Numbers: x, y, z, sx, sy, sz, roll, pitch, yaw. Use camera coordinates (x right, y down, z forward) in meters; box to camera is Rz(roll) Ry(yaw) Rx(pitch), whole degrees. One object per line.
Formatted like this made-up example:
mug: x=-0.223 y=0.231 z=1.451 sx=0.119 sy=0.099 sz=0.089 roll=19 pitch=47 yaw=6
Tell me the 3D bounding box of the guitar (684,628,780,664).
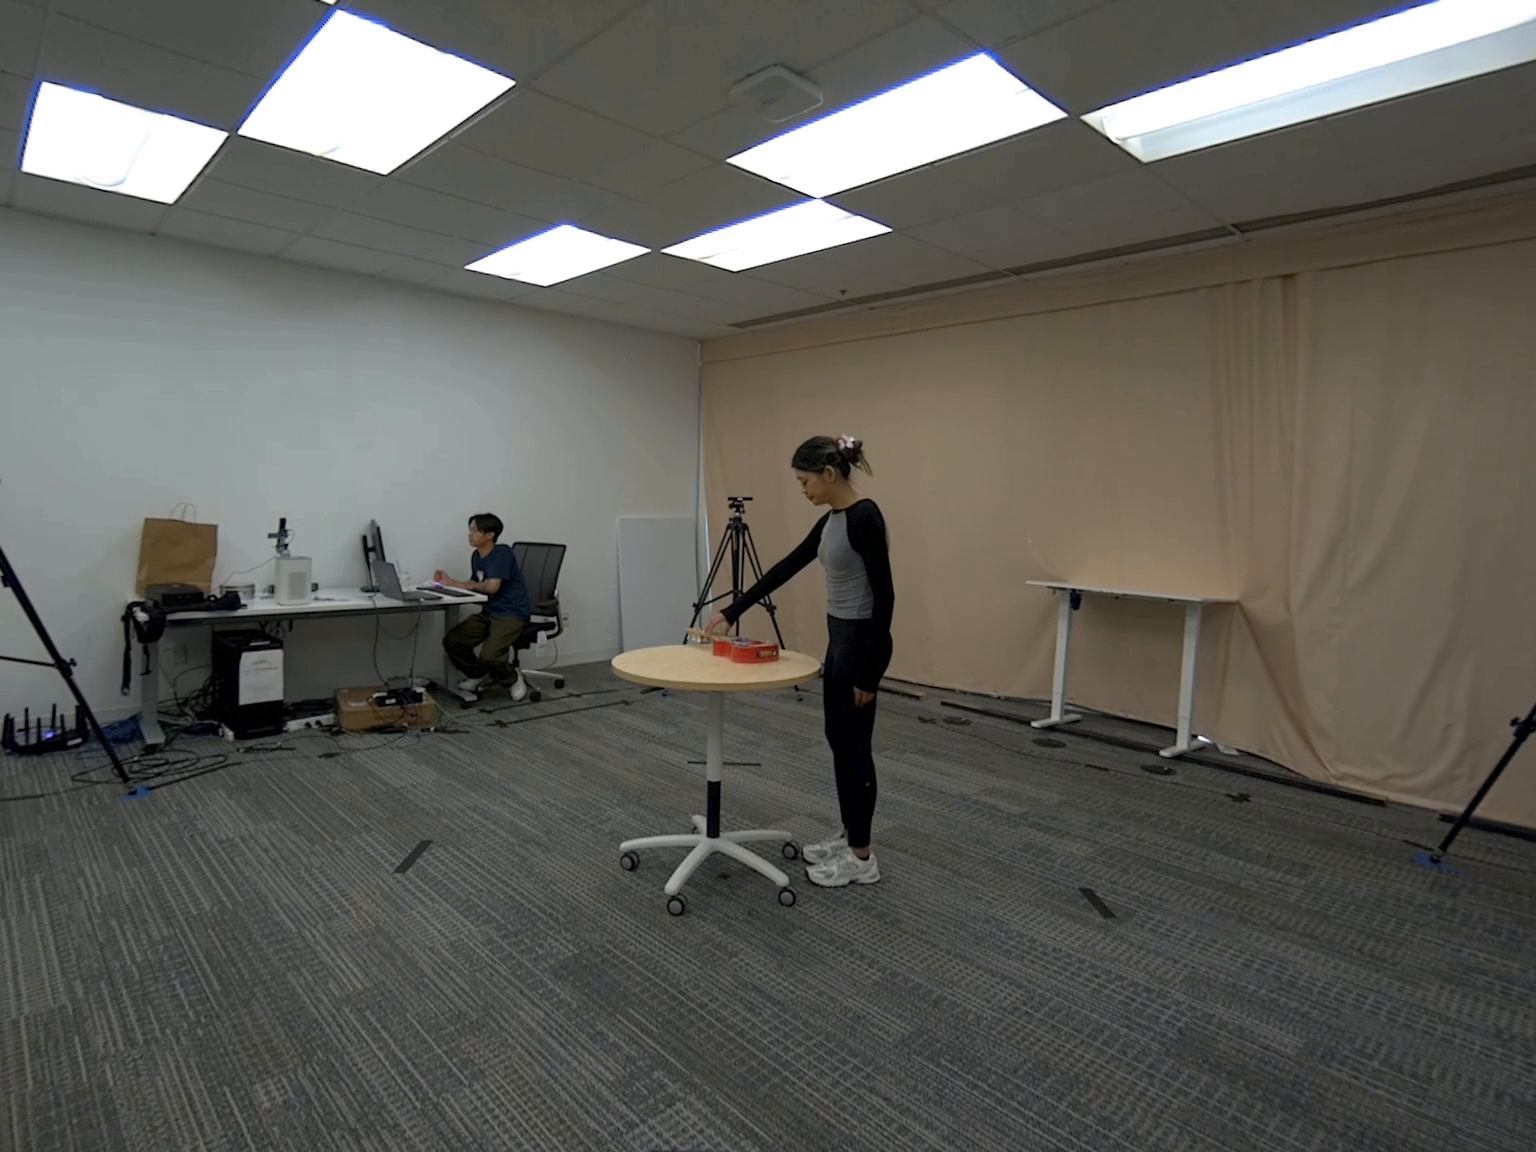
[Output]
guitar: x=-0.143 y=0.268 z=3.296 sx=0.189 sy=0.070 sz=0.509 roll=0 pitch=4 yaw=-31
